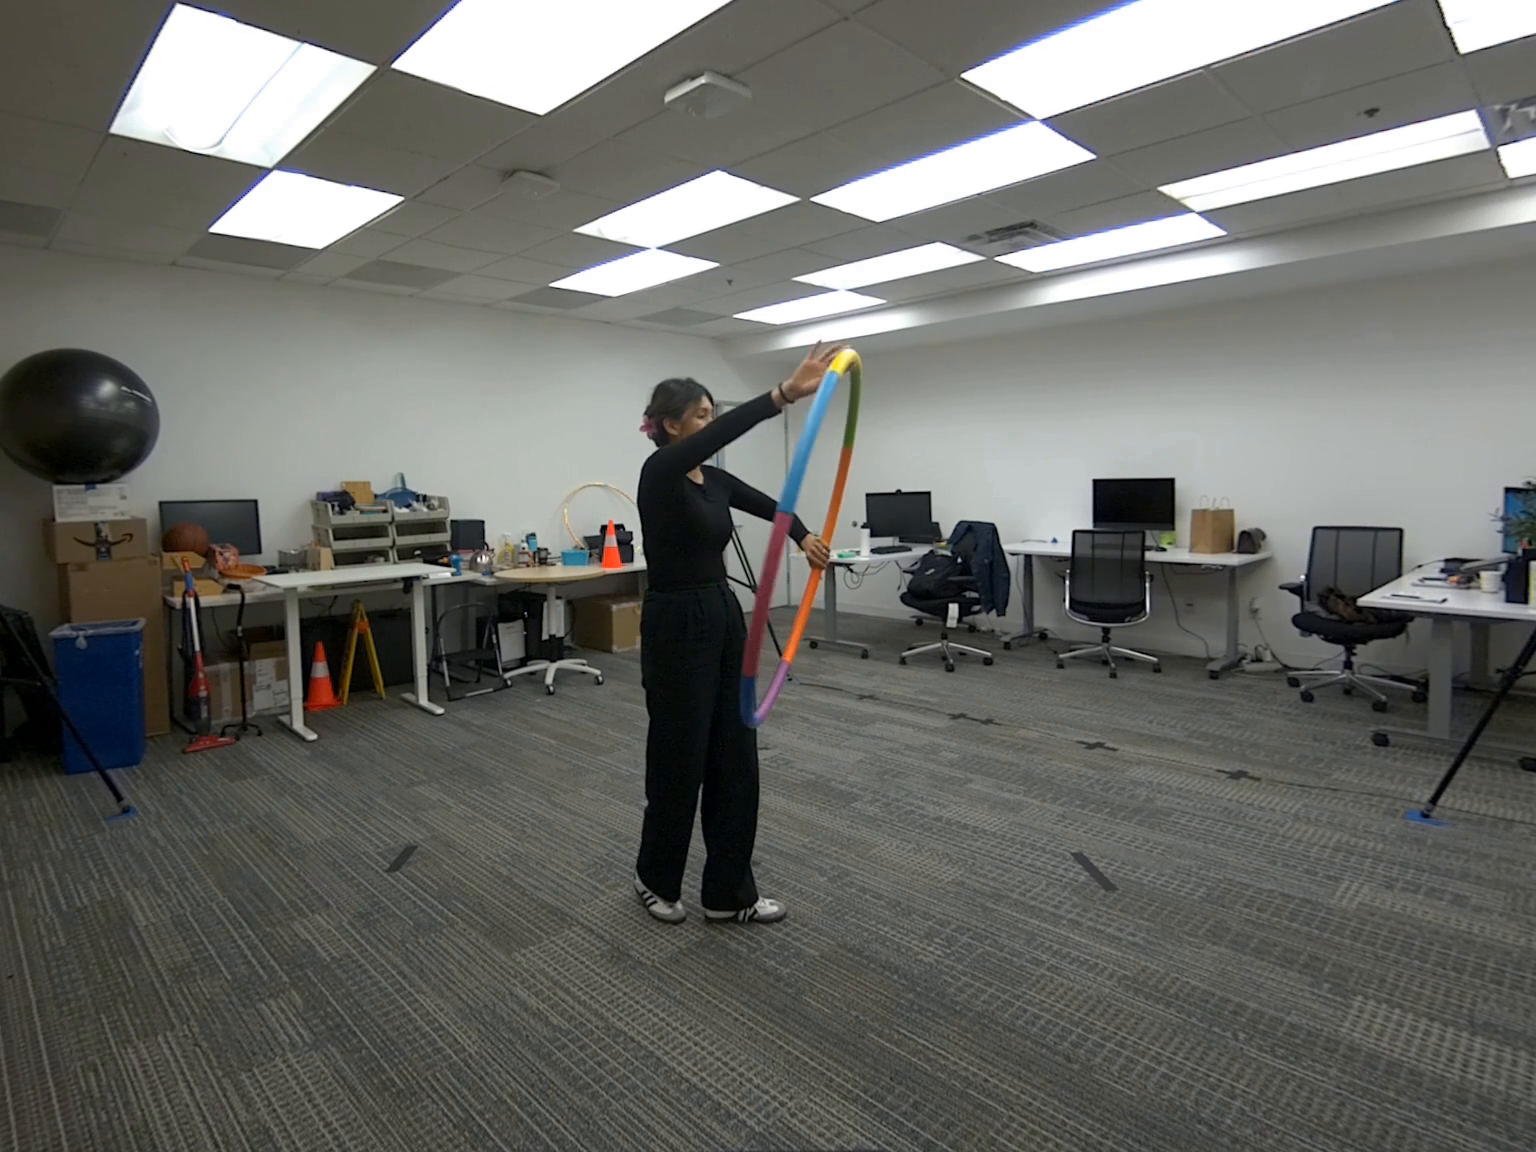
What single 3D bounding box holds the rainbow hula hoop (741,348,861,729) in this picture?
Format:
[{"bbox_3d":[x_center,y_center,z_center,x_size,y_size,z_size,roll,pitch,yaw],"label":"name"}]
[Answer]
[{"bbox_3d":[0.098,-0.079,2.208,0.052,0.980,0.977,13,8,10],"label":"rainbow hula hoop"}]
